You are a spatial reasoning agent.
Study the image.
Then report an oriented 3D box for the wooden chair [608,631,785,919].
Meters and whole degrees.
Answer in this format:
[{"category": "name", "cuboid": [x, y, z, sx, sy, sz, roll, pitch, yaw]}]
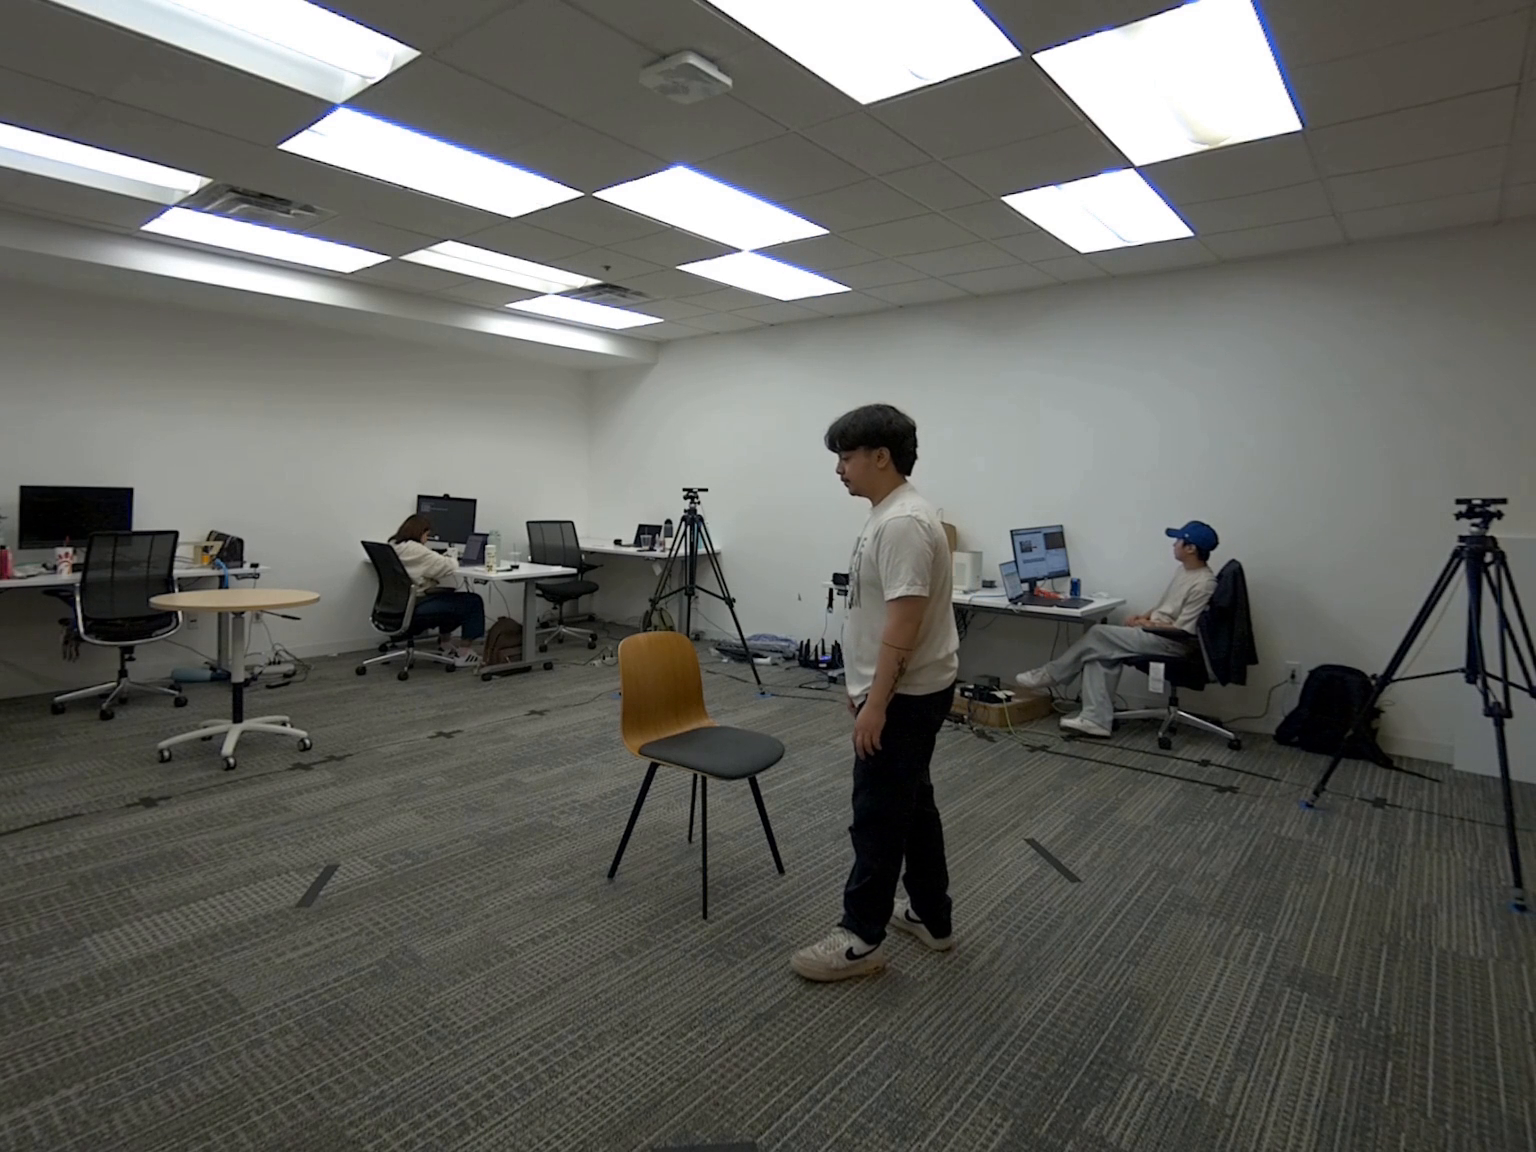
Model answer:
[{"category": "wooden chair", "cuboid": [-0.247, 0.649, 3.019, 0.539, 0.877, 0.464, -2, 0, 38]}]
